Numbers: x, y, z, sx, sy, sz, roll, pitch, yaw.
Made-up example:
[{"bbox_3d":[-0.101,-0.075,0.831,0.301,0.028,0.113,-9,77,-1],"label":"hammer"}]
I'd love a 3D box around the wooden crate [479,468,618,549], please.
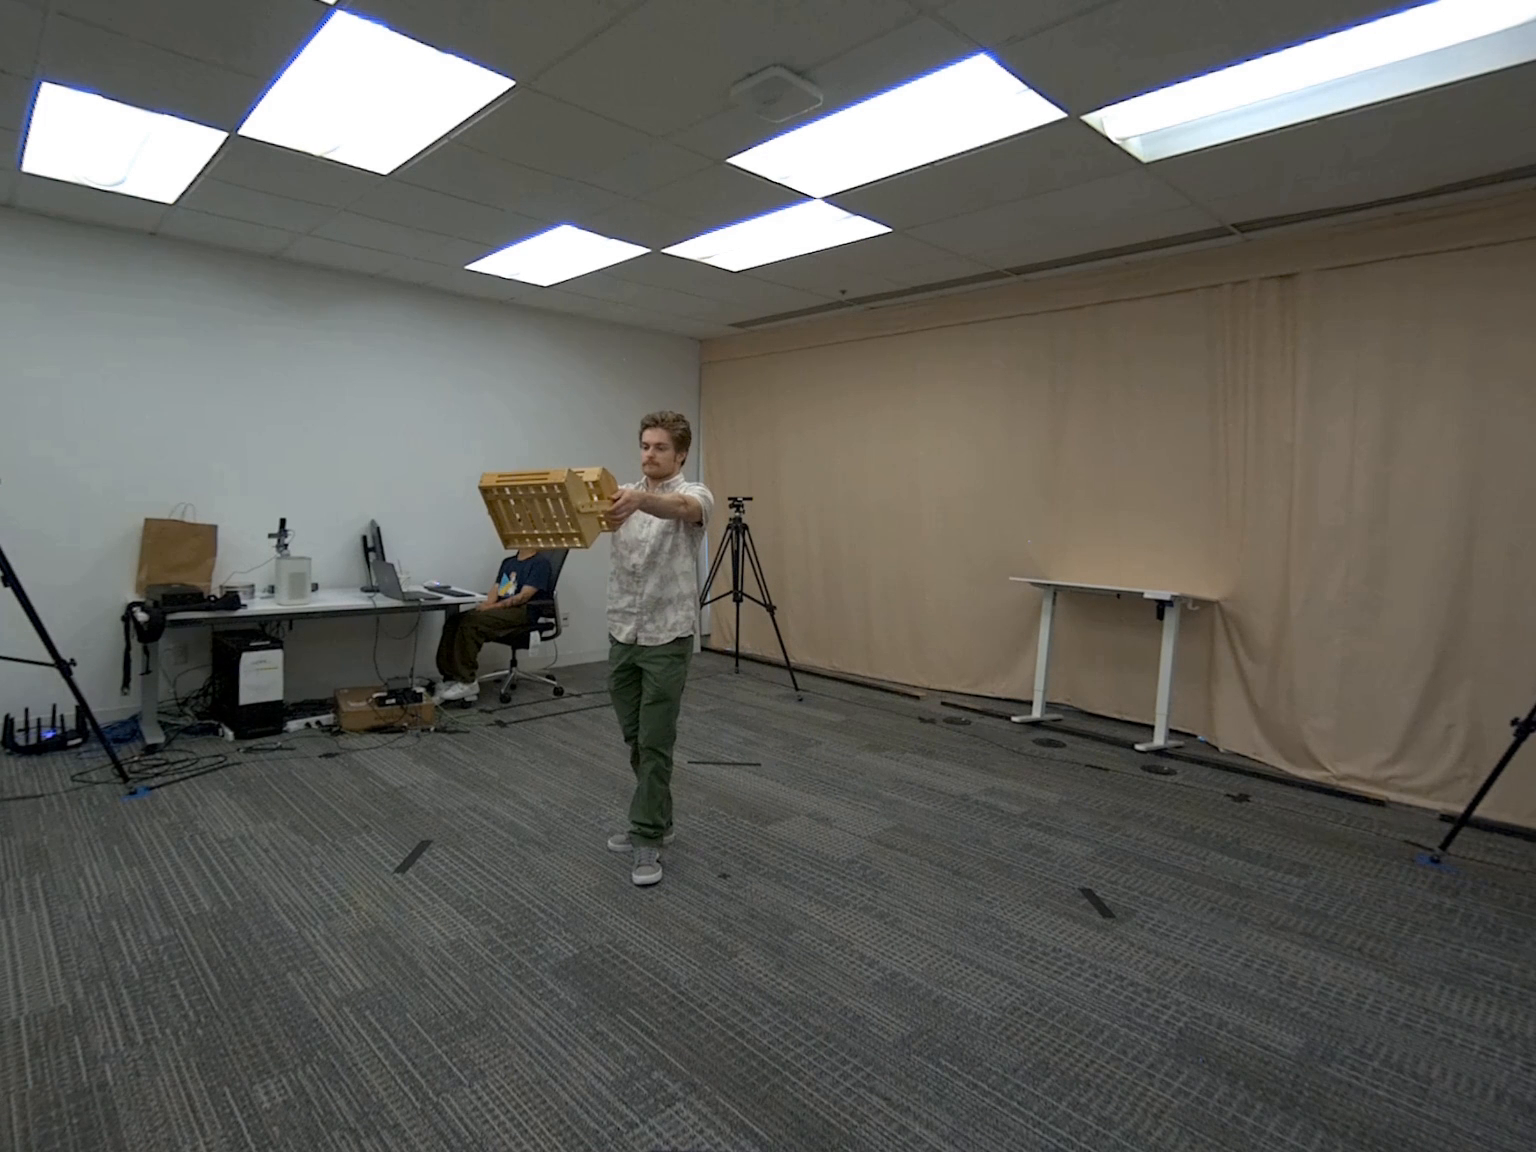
[{"bbox_3d":[-0.684,-0.242,2.602,0.329,0.295,0.276,0,35,19],"label":"wooden crate"}]
